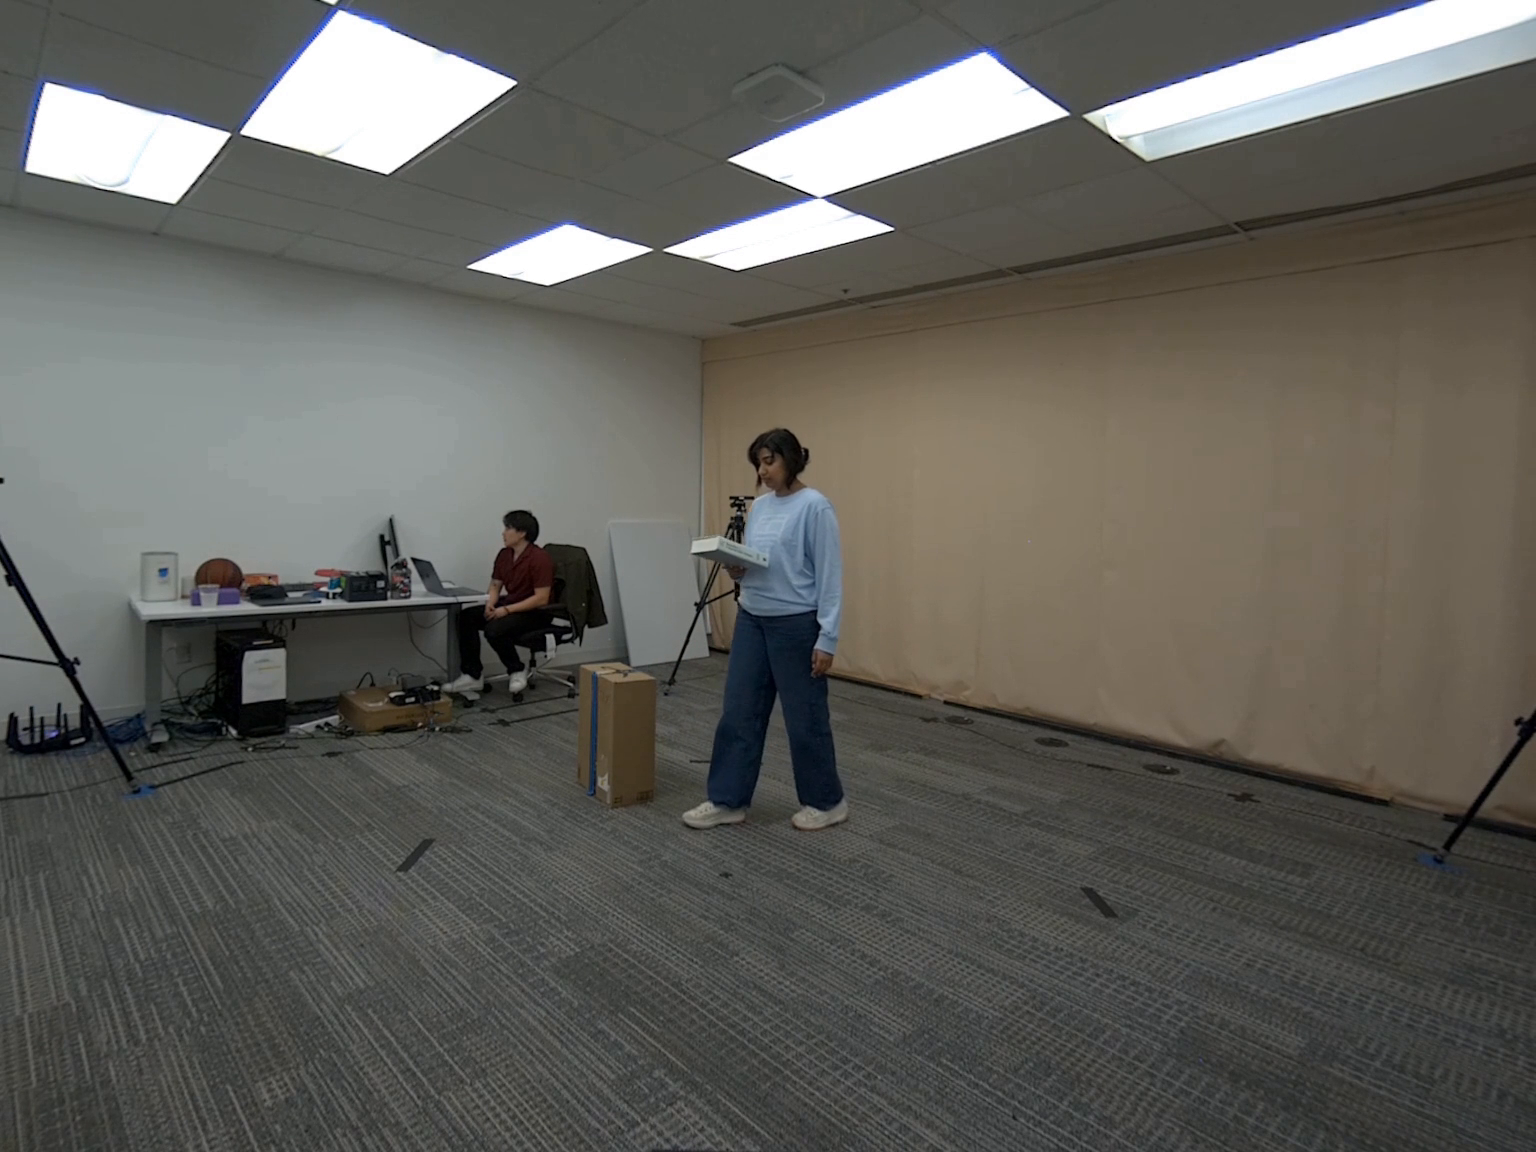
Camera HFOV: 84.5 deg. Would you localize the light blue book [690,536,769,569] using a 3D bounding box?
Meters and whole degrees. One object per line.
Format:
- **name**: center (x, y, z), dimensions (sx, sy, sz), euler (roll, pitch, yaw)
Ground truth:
- **light blue book**: center (-0.166, -0.093, 3.387), dimensions (0.253, 0.059, 0.195), euler (20, -16, -37)
